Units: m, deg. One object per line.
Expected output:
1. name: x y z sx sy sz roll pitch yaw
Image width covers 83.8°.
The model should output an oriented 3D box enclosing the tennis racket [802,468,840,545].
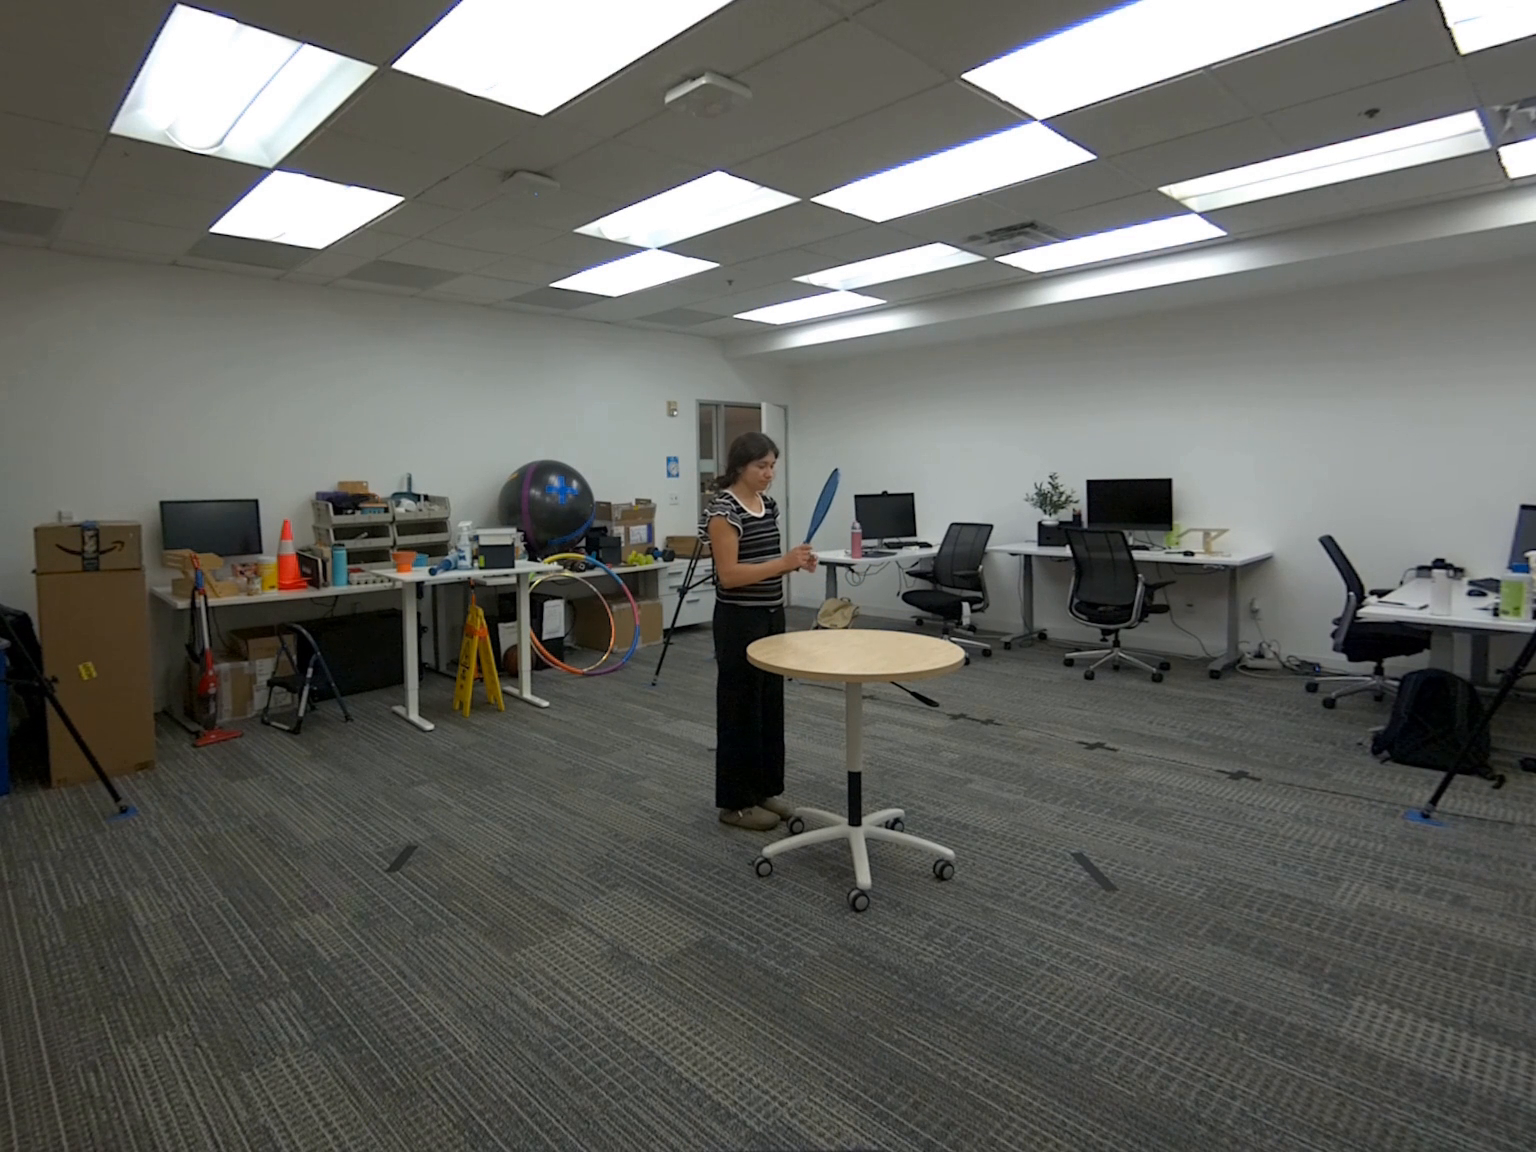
1. tennis racket: 0.196 -0.220 3.326 0.031 0.430 0.218 18 13 -12
